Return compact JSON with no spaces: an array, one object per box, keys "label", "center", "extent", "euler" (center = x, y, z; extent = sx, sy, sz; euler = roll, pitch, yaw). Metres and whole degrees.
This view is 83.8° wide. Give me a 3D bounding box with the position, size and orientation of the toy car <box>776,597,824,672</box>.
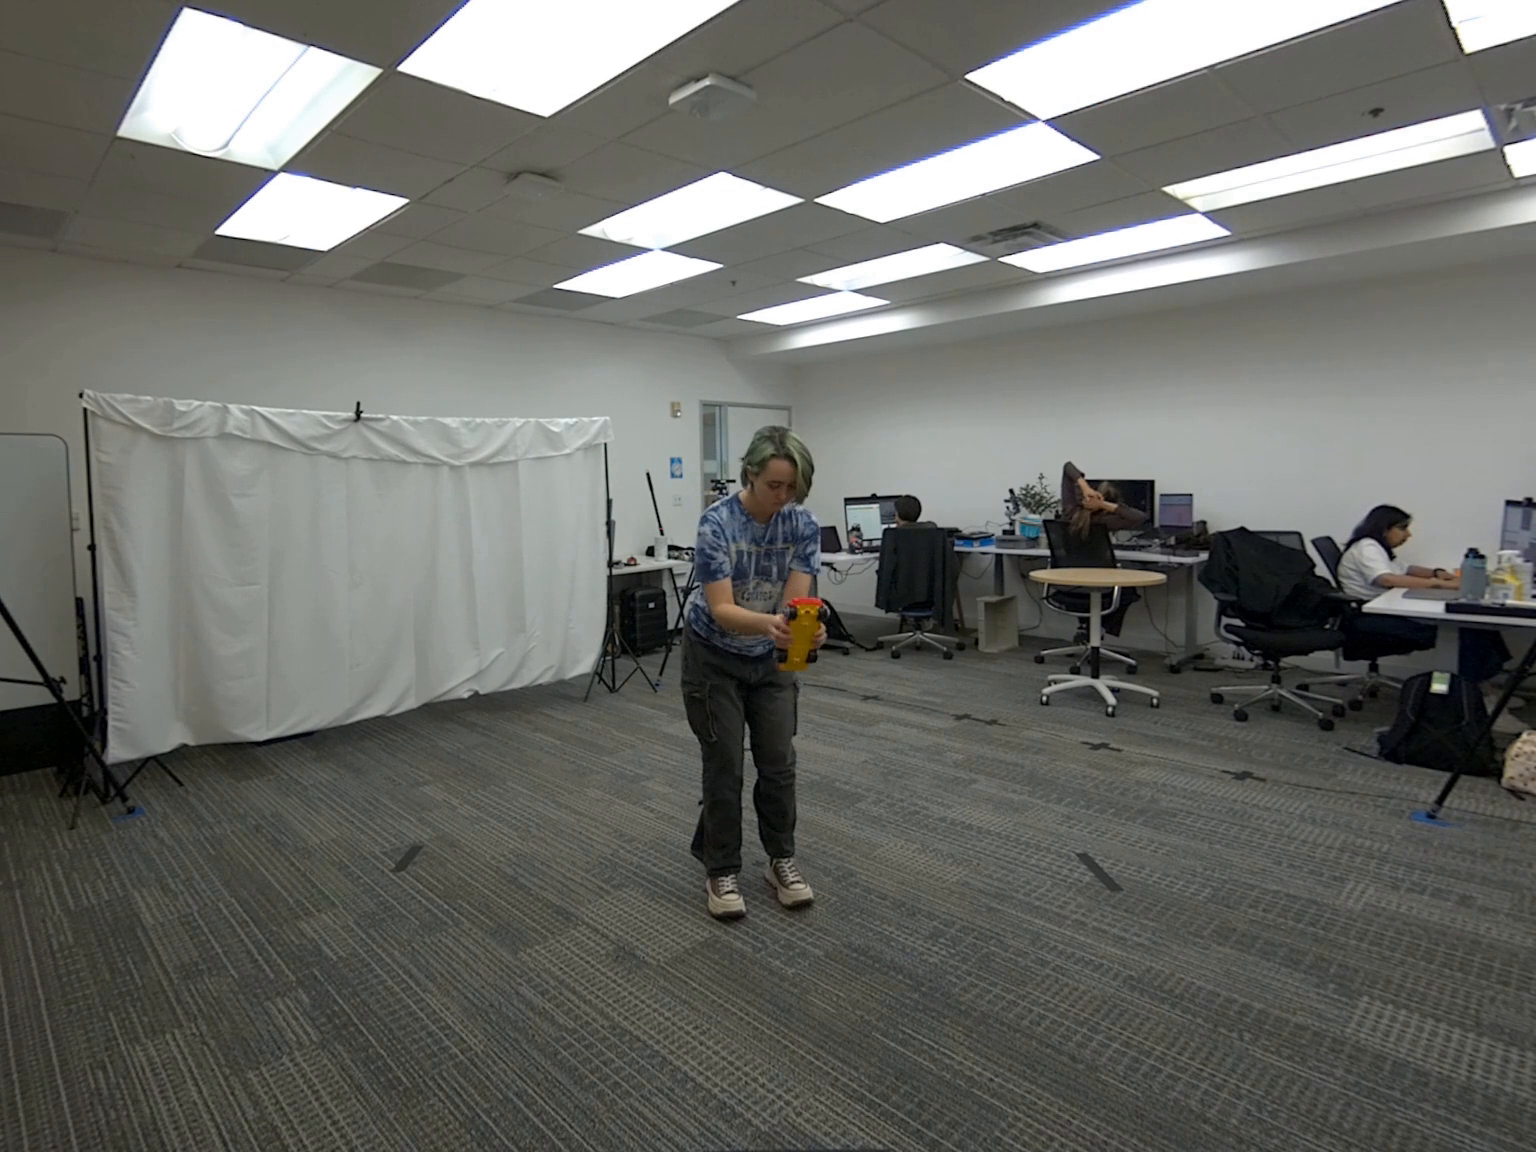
[{"label":"toy car","center":[0.083,0.183,2.371],"extent":[0.128,0.249,0.086],"euler":[0,43,-14]}]
